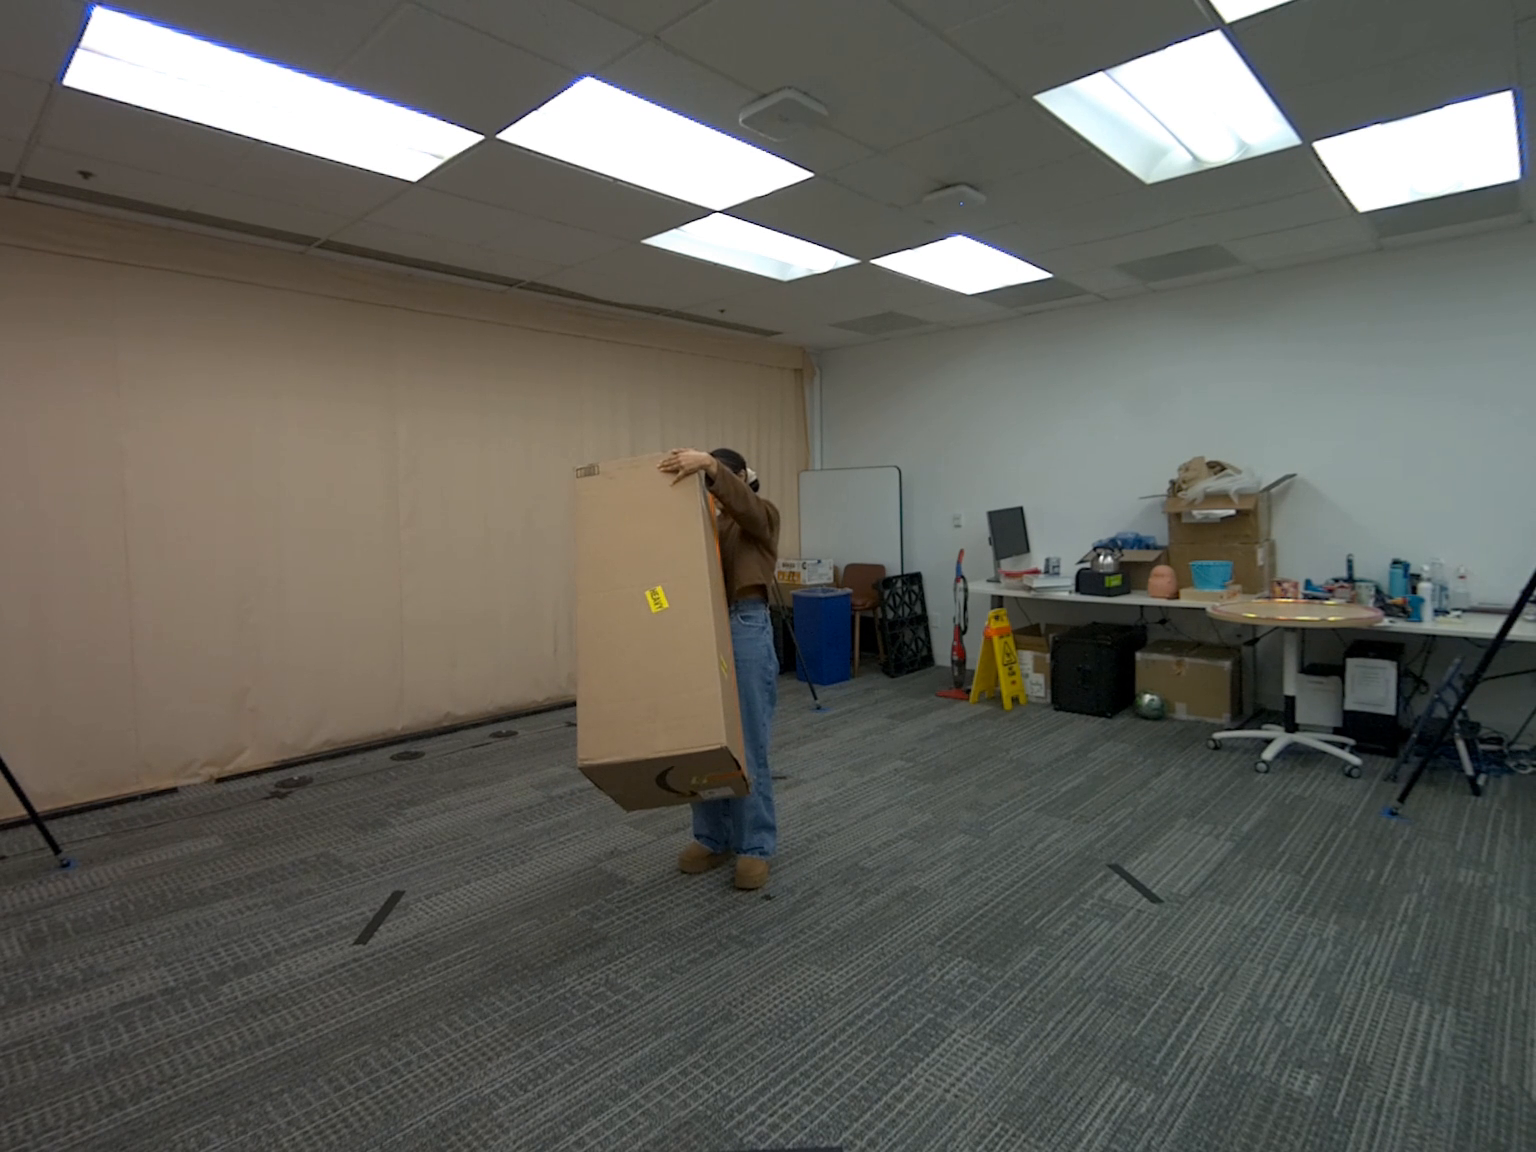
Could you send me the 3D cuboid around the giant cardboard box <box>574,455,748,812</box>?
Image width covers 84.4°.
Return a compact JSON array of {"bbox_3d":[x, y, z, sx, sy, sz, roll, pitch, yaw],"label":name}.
[{"bbox_3d":[-0.355,0.187,2.804,0.428,1.045,0.564,-10,-29,4],"label":"giant cardboard box"}]
